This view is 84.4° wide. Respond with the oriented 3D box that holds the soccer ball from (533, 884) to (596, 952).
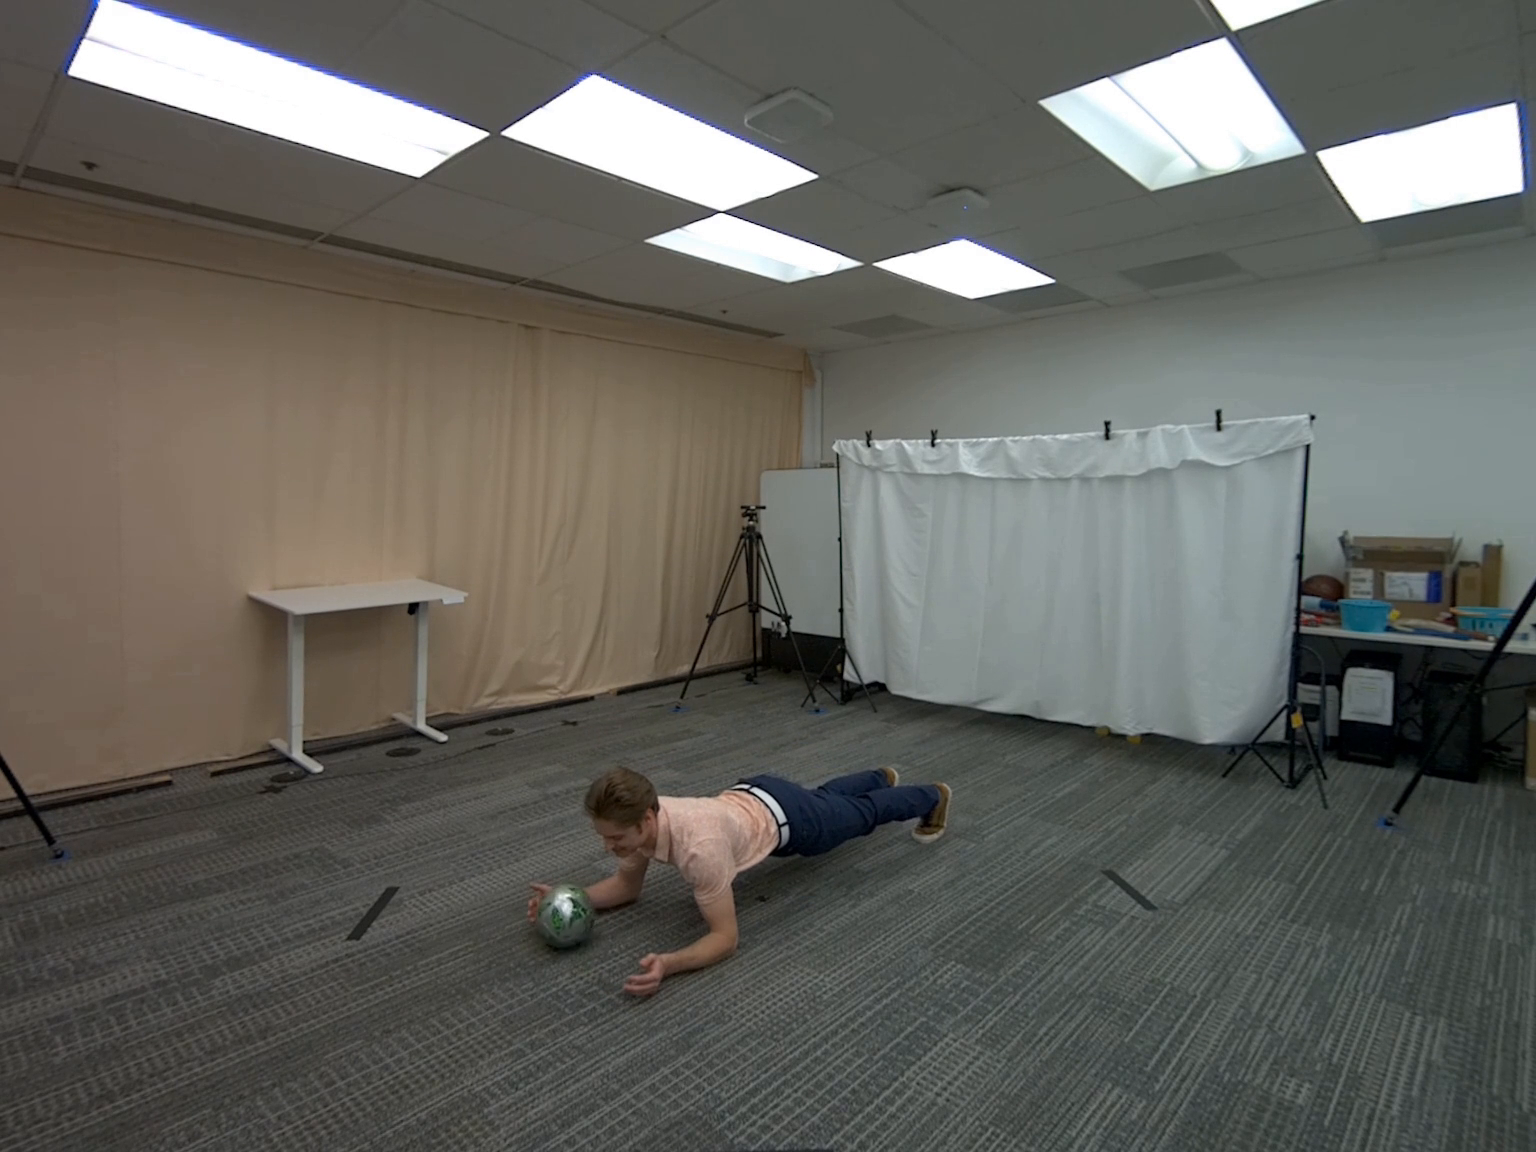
[{"bbox_3d":[-0.636,1.084,2.676,0.187,0.187,0.188,0,4,-2],"label":"soccer ball"}]
